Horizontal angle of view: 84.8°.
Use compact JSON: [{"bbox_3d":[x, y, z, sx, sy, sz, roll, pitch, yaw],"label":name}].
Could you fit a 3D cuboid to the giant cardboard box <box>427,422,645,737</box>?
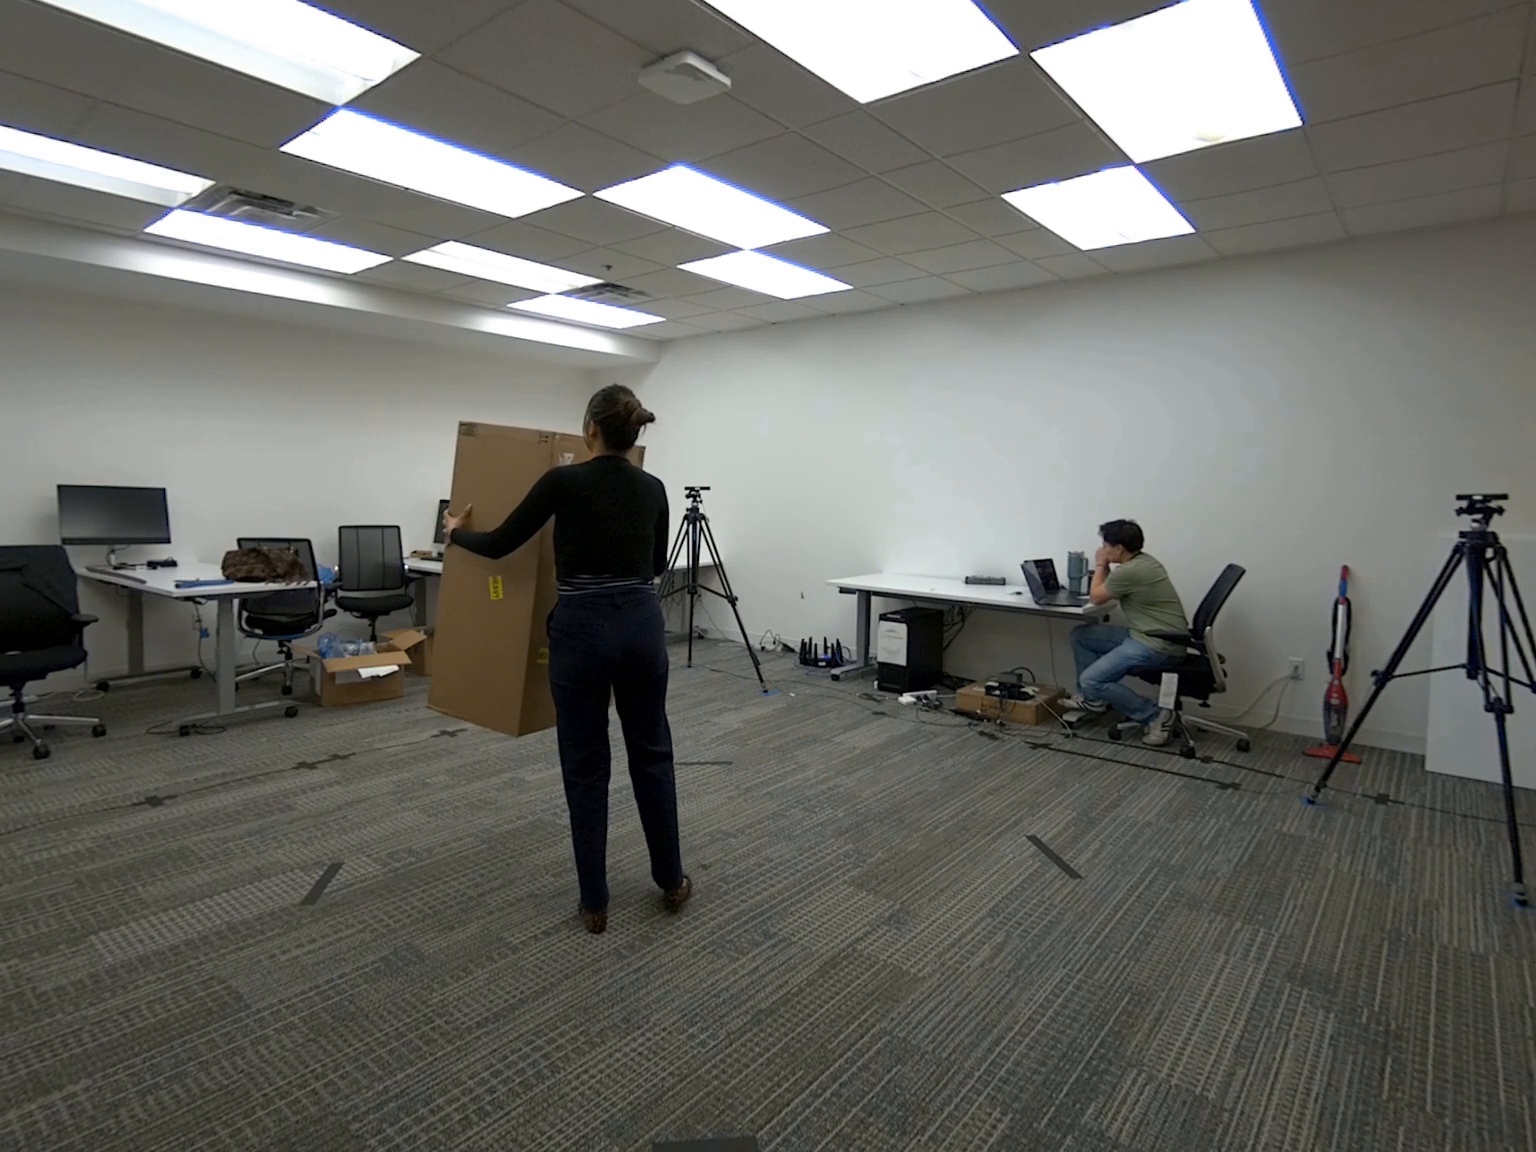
[{"bbox_3d":[-0.845,-0.016,3.141,0.438,1.022,0.563,10,5,24],"label":"giant cardboard box"}]
